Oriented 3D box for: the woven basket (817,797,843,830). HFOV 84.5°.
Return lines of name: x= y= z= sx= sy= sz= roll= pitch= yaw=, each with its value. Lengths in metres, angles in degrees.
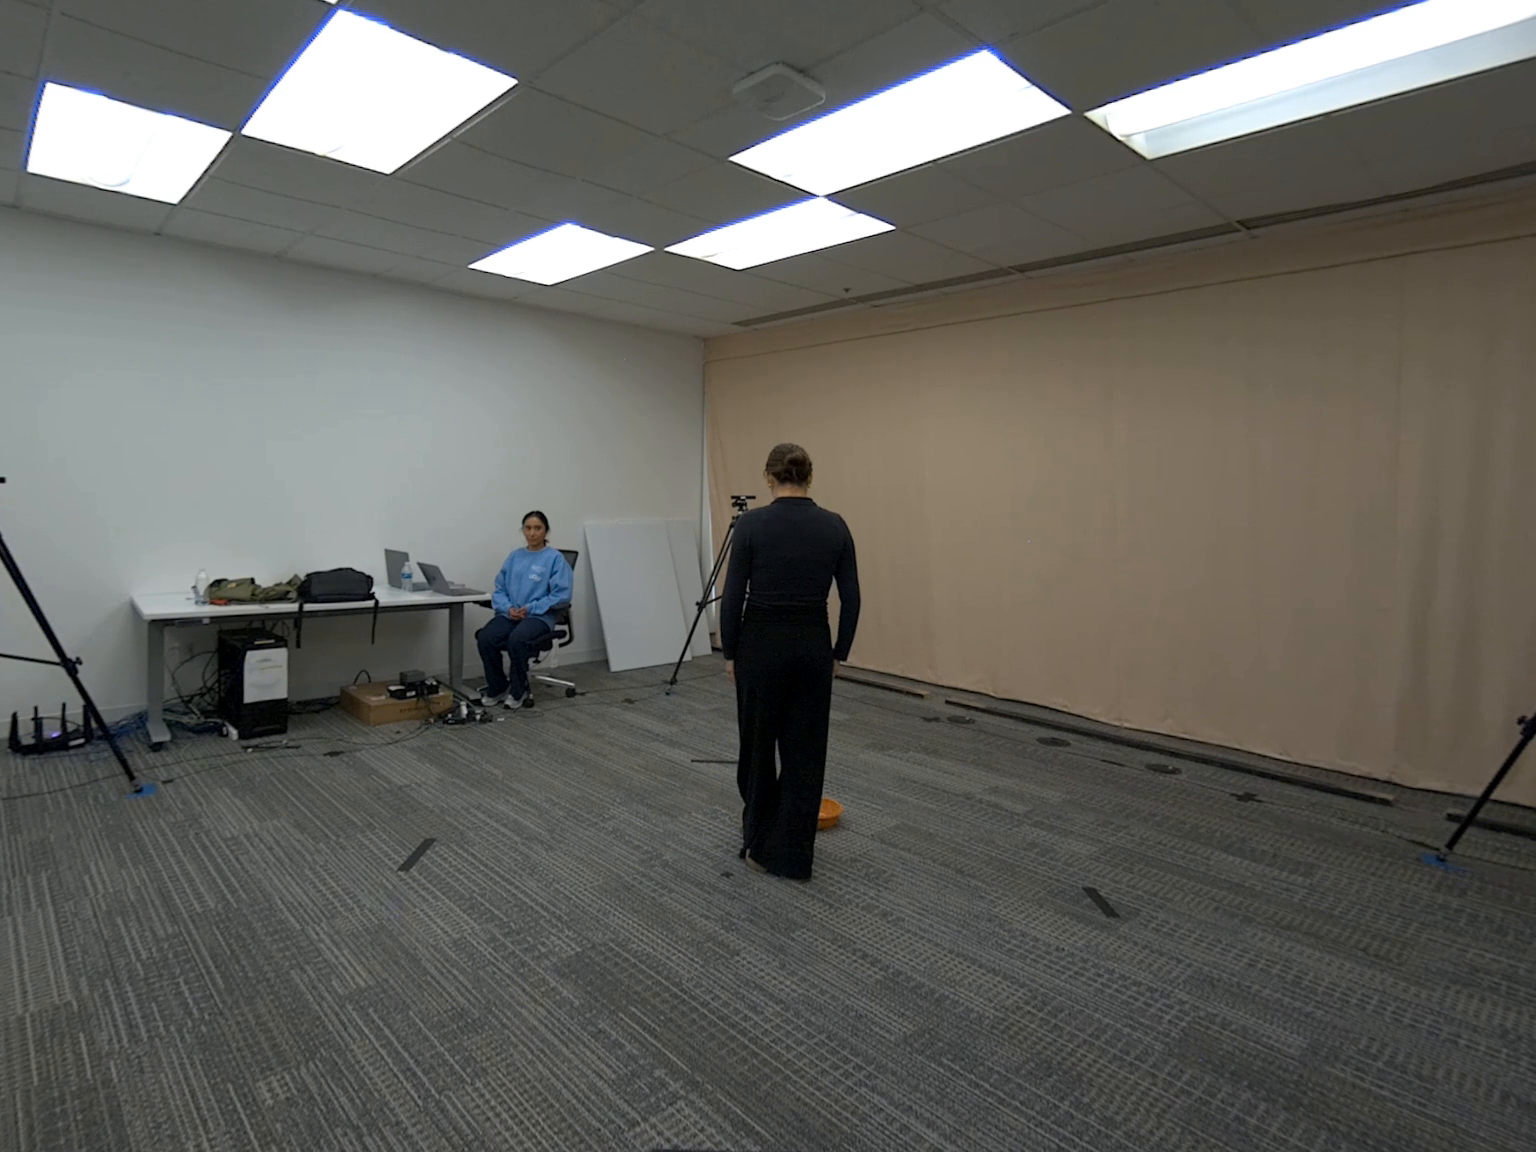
woven basket: x=0.142 y=1.023 z=3.636 sx=0.348 sy=0.073 sz=0.255 roll=1 pitch=7 yaw=-7
